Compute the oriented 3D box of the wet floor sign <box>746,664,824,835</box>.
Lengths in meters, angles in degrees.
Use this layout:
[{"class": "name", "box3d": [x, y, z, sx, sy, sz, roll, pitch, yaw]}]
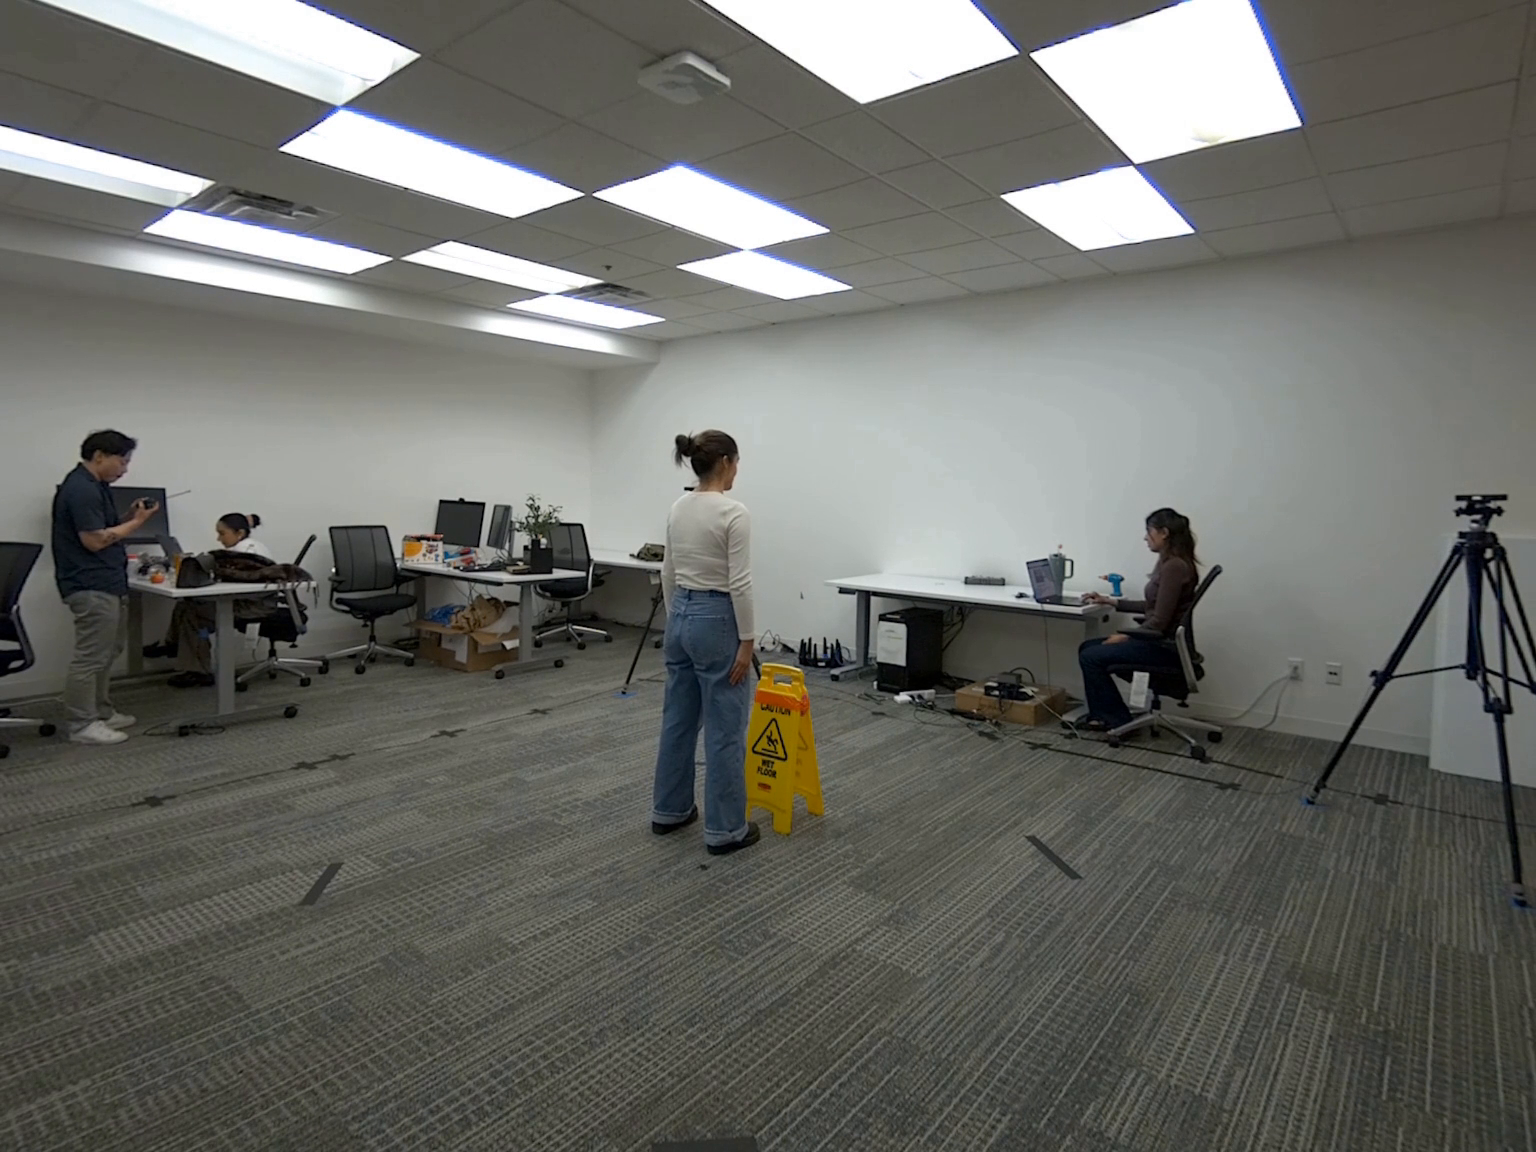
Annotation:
[{"class": "wet floor sign", "box3d": [0.043, 0.699, 3.595, 0.291, 0.644, 0.281, 3, 3, 36]}]
